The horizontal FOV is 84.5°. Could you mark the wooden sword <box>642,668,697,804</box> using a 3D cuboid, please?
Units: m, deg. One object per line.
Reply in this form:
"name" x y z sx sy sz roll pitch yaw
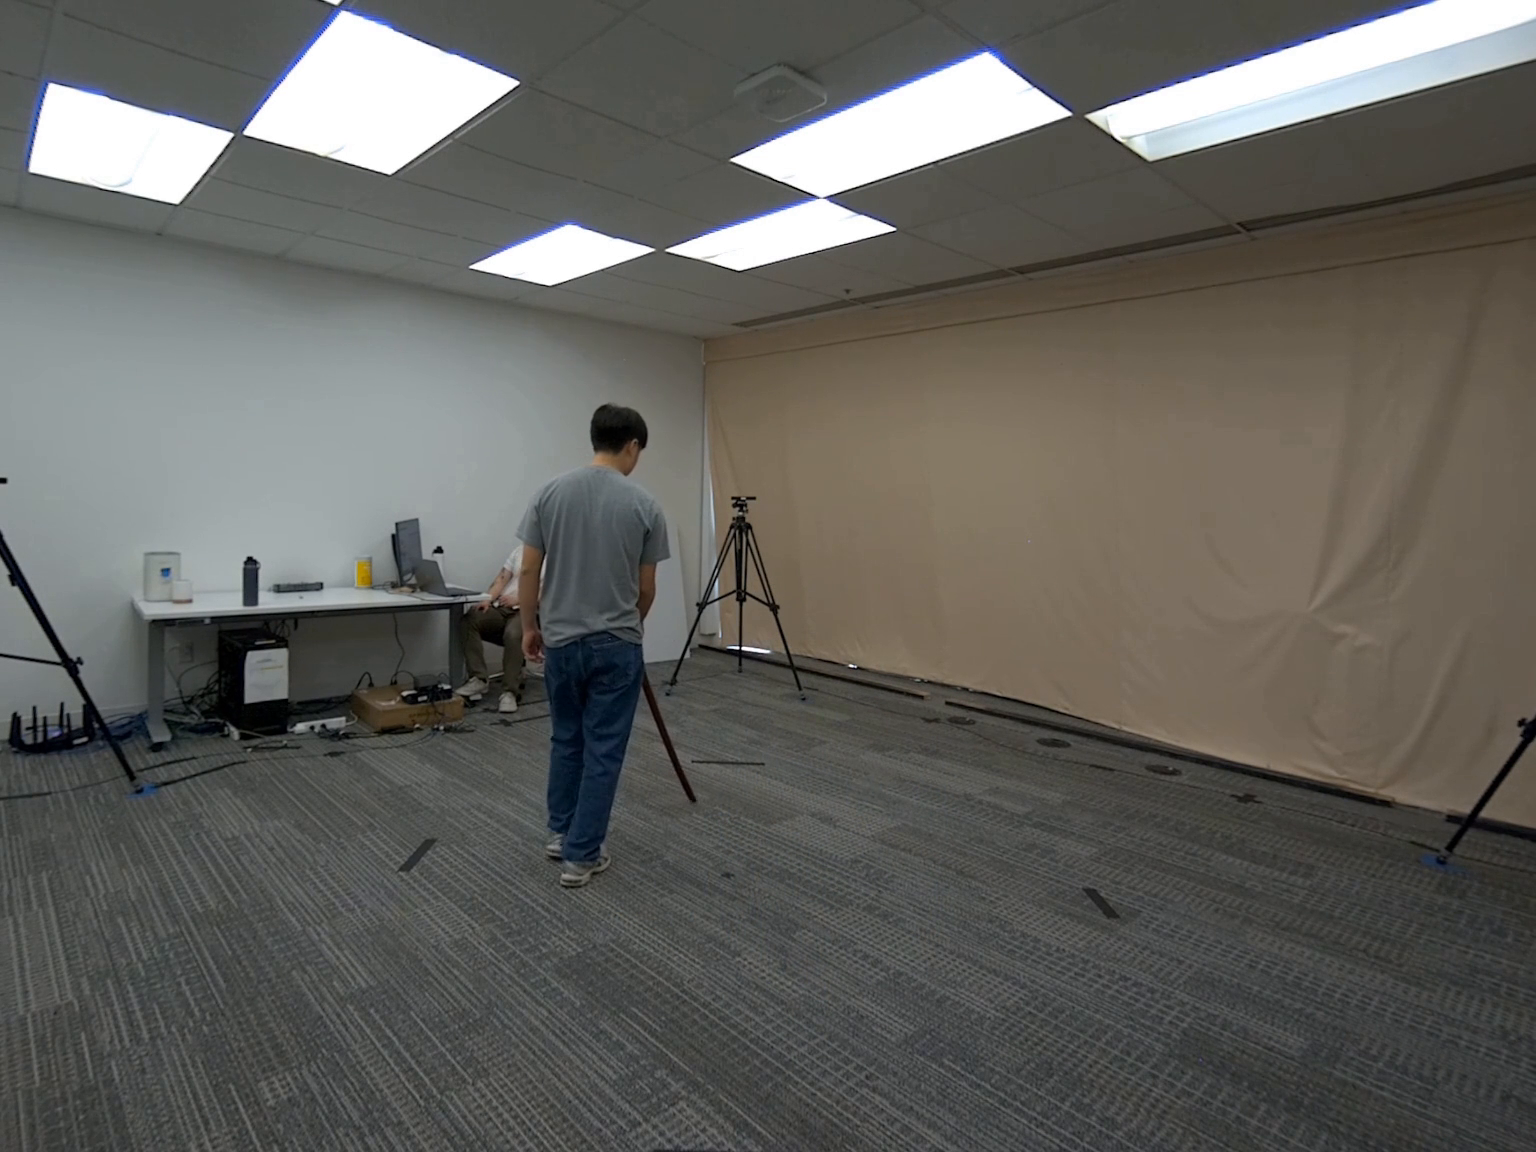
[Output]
"wooden sword" -0.465 0.638 3.622 0.024 1.000 0.052 -6 32 16
